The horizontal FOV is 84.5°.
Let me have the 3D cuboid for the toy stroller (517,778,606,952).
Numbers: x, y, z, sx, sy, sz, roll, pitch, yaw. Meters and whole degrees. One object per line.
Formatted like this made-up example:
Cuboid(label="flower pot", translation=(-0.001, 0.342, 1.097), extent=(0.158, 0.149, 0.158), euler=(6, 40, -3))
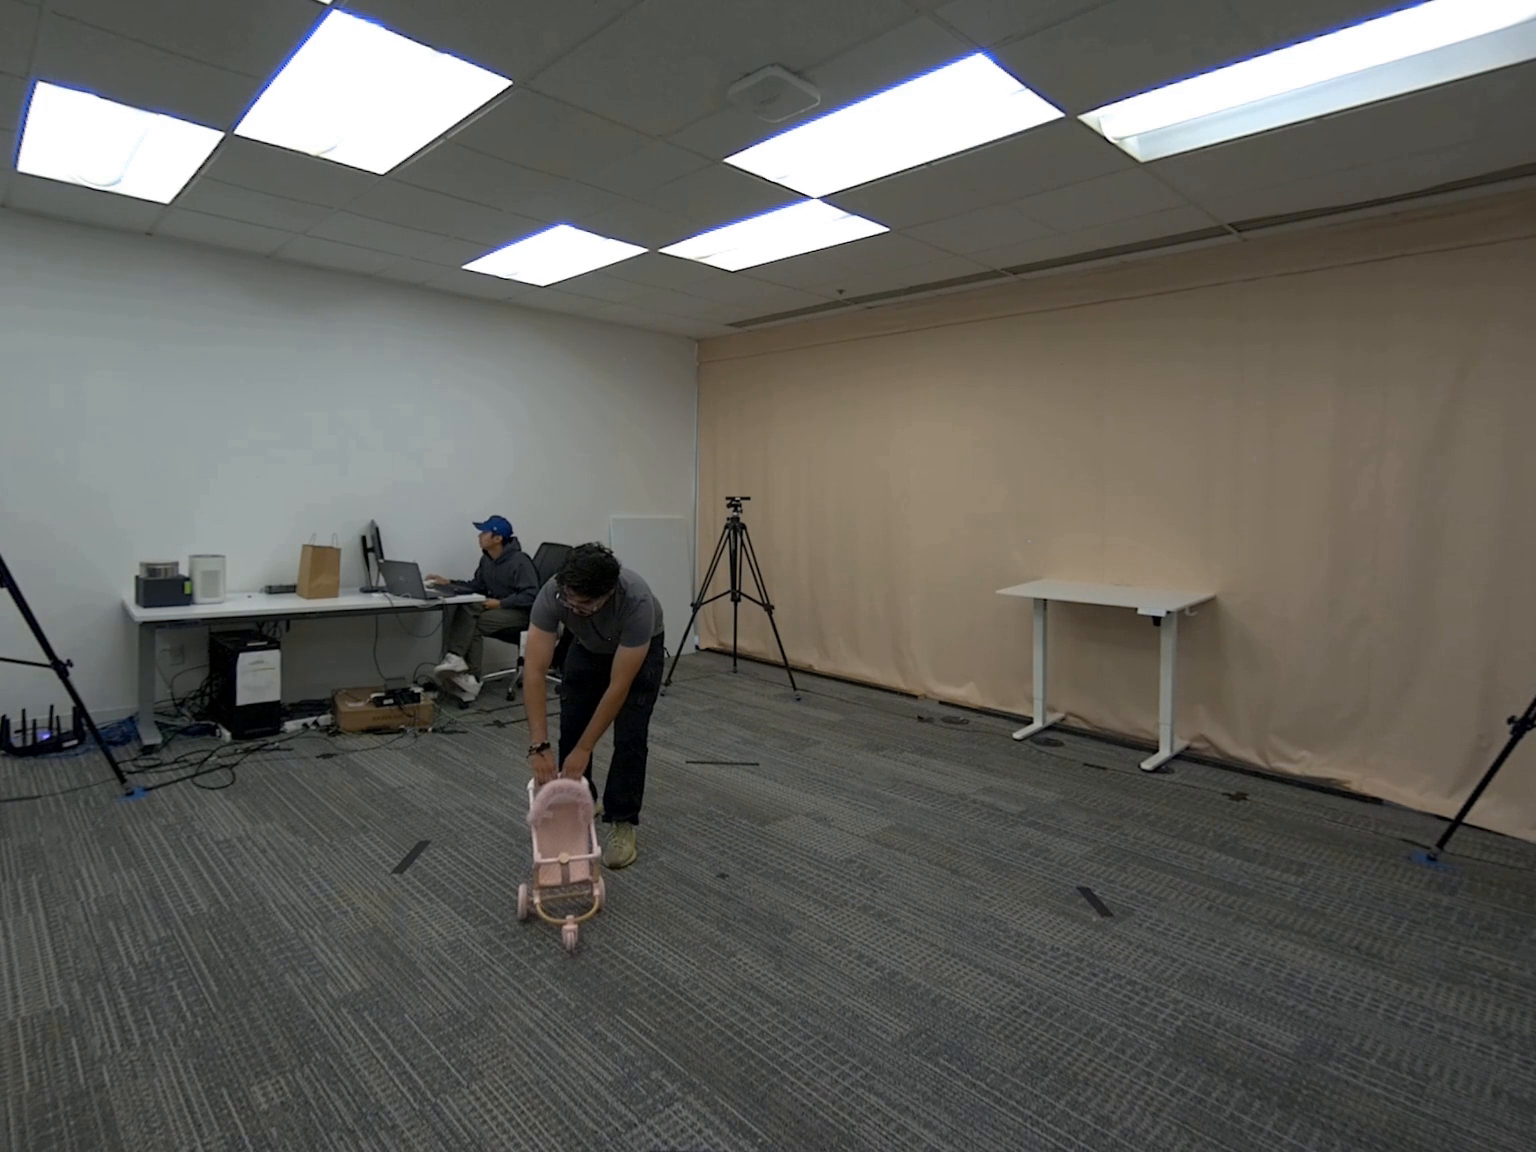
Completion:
Cuboid(label="toy stroller", translation=(-0.678, 0.905, 2.741), extent=(0.278, 0.541, 0.341), euler=(0, -16, -14))
